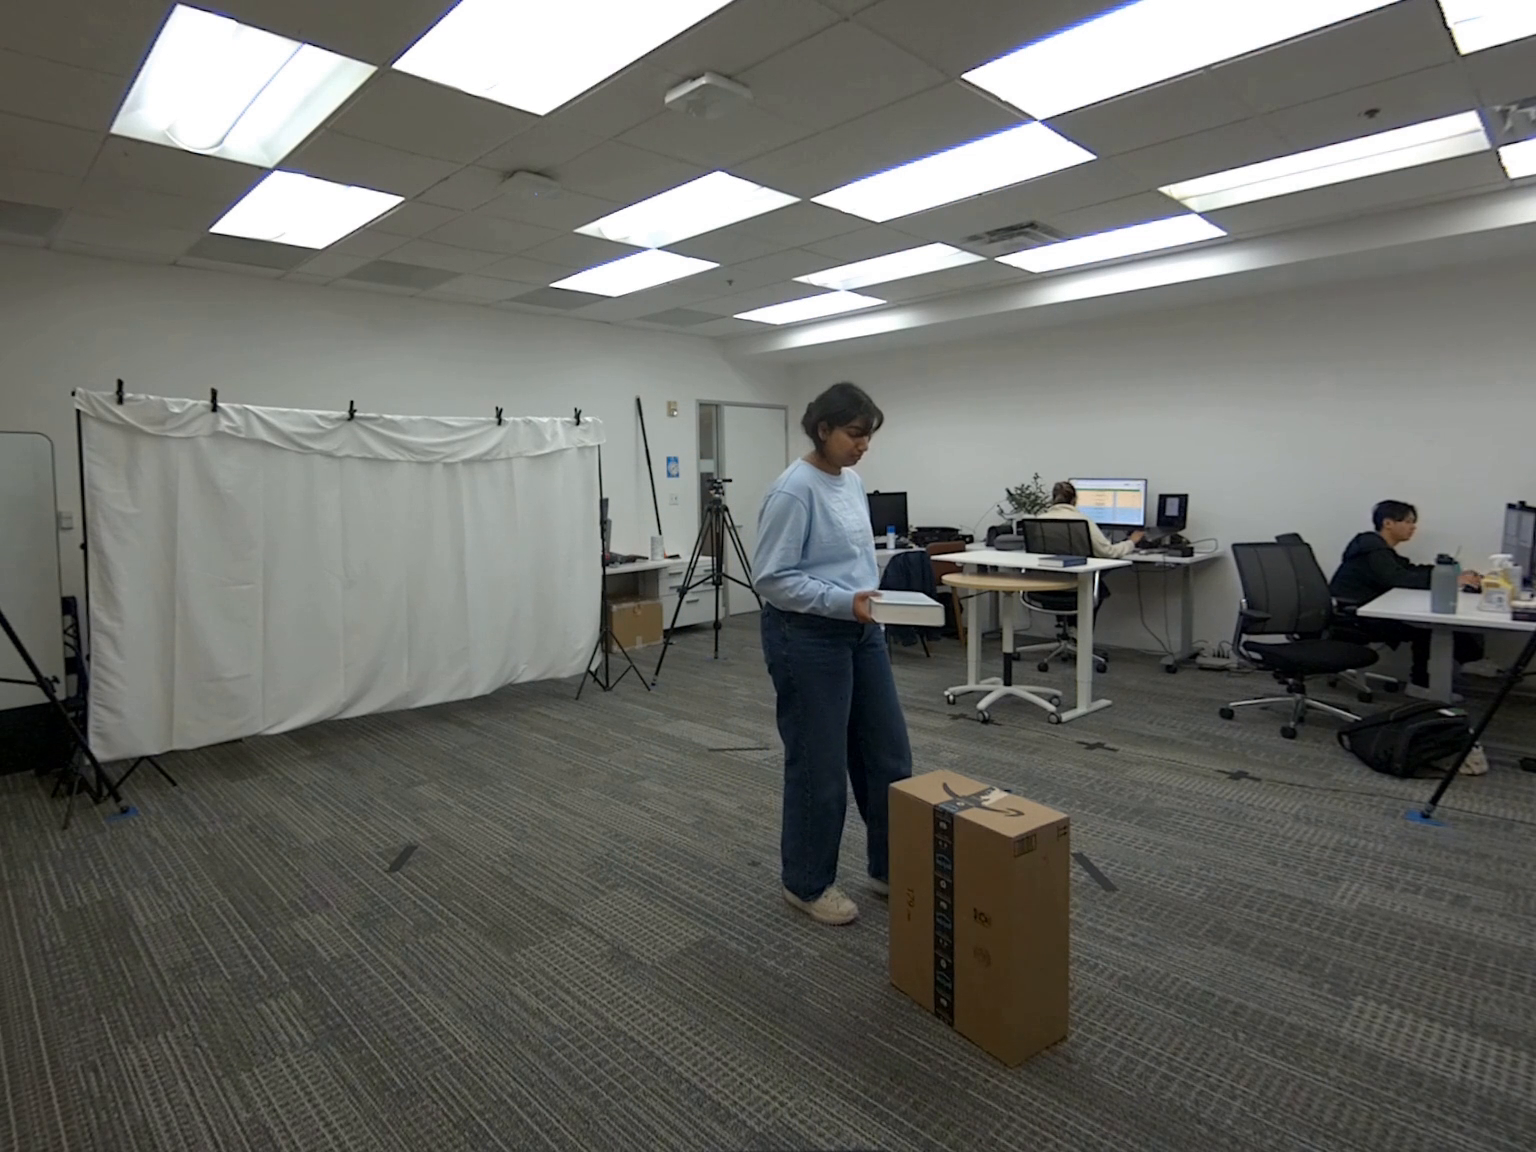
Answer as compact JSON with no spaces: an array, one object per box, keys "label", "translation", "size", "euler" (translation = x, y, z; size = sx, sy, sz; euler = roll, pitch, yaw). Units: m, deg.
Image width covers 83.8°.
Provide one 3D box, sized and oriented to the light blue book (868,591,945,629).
[{"label":"light blue book","translation":[0.398,0.092,2.455],"size":[0.193,0.059,0.260],"euler":[2,5,7]}]
